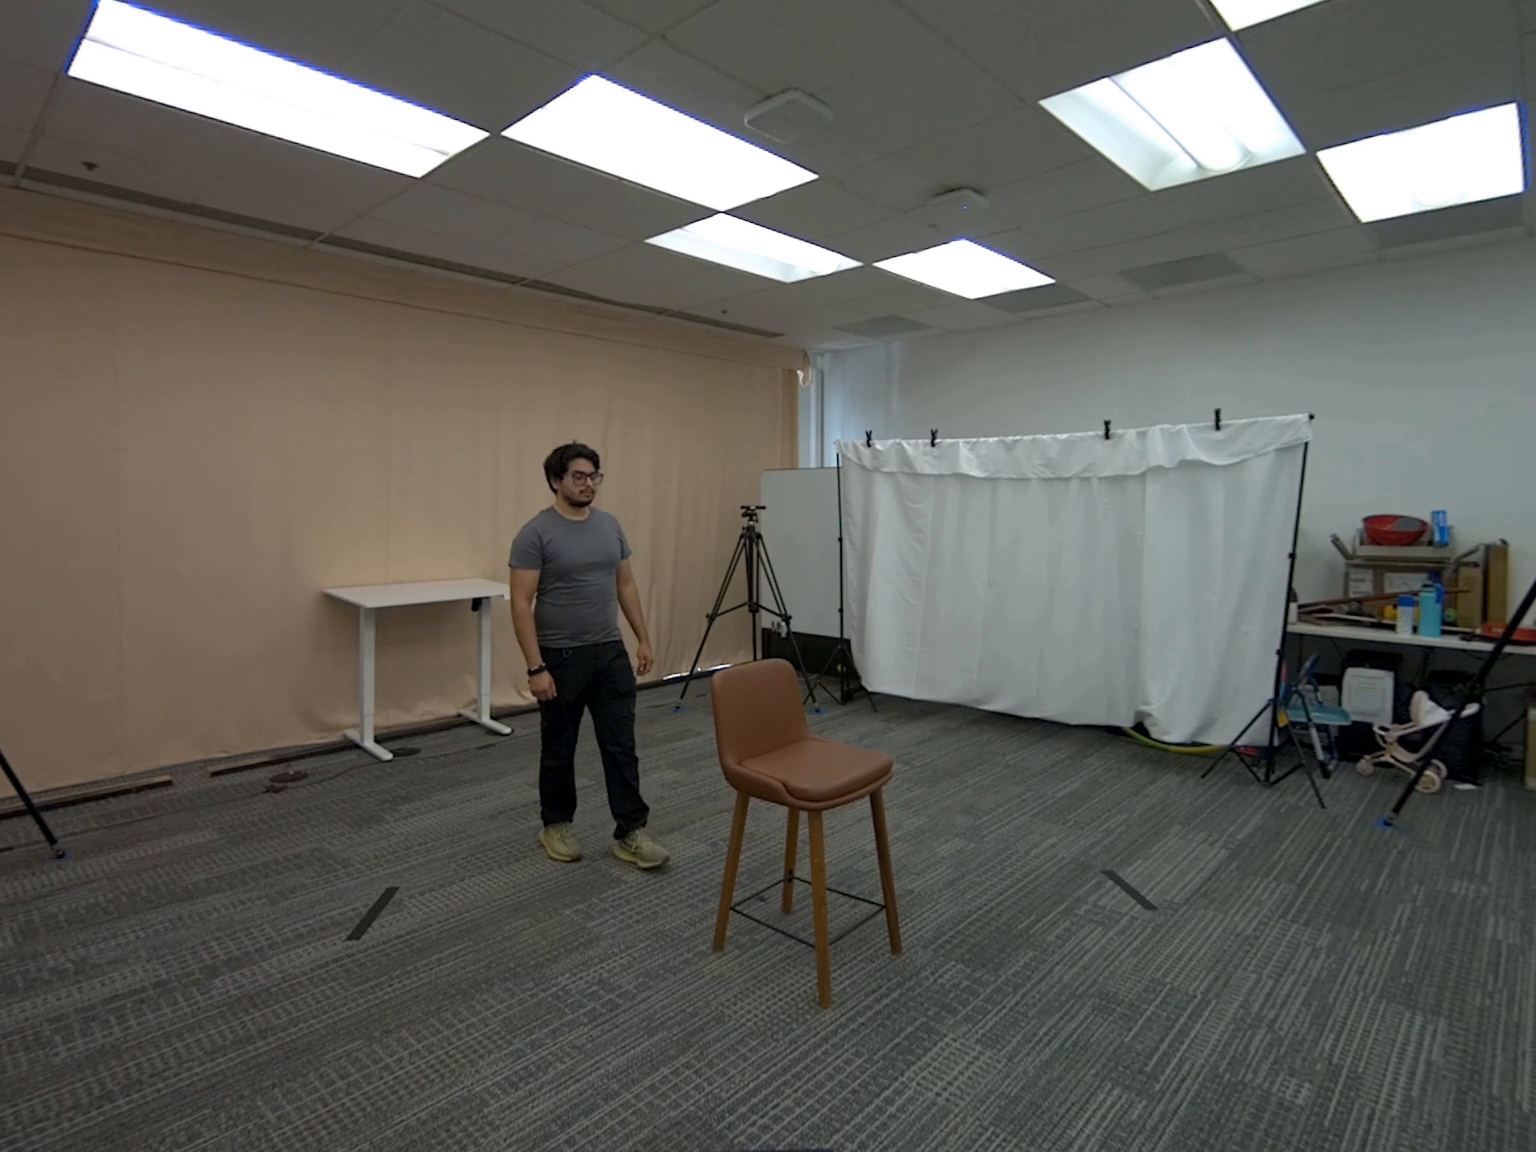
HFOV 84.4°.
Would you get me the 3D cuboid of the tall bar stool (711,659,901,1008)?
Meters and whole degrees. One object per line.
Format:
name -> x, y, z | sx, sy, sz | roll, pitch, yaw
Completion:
tall bar stool -> 0.116, 0.740, 2.607 | 0.483, 0.888, 0.442 | 0, 3, 42
